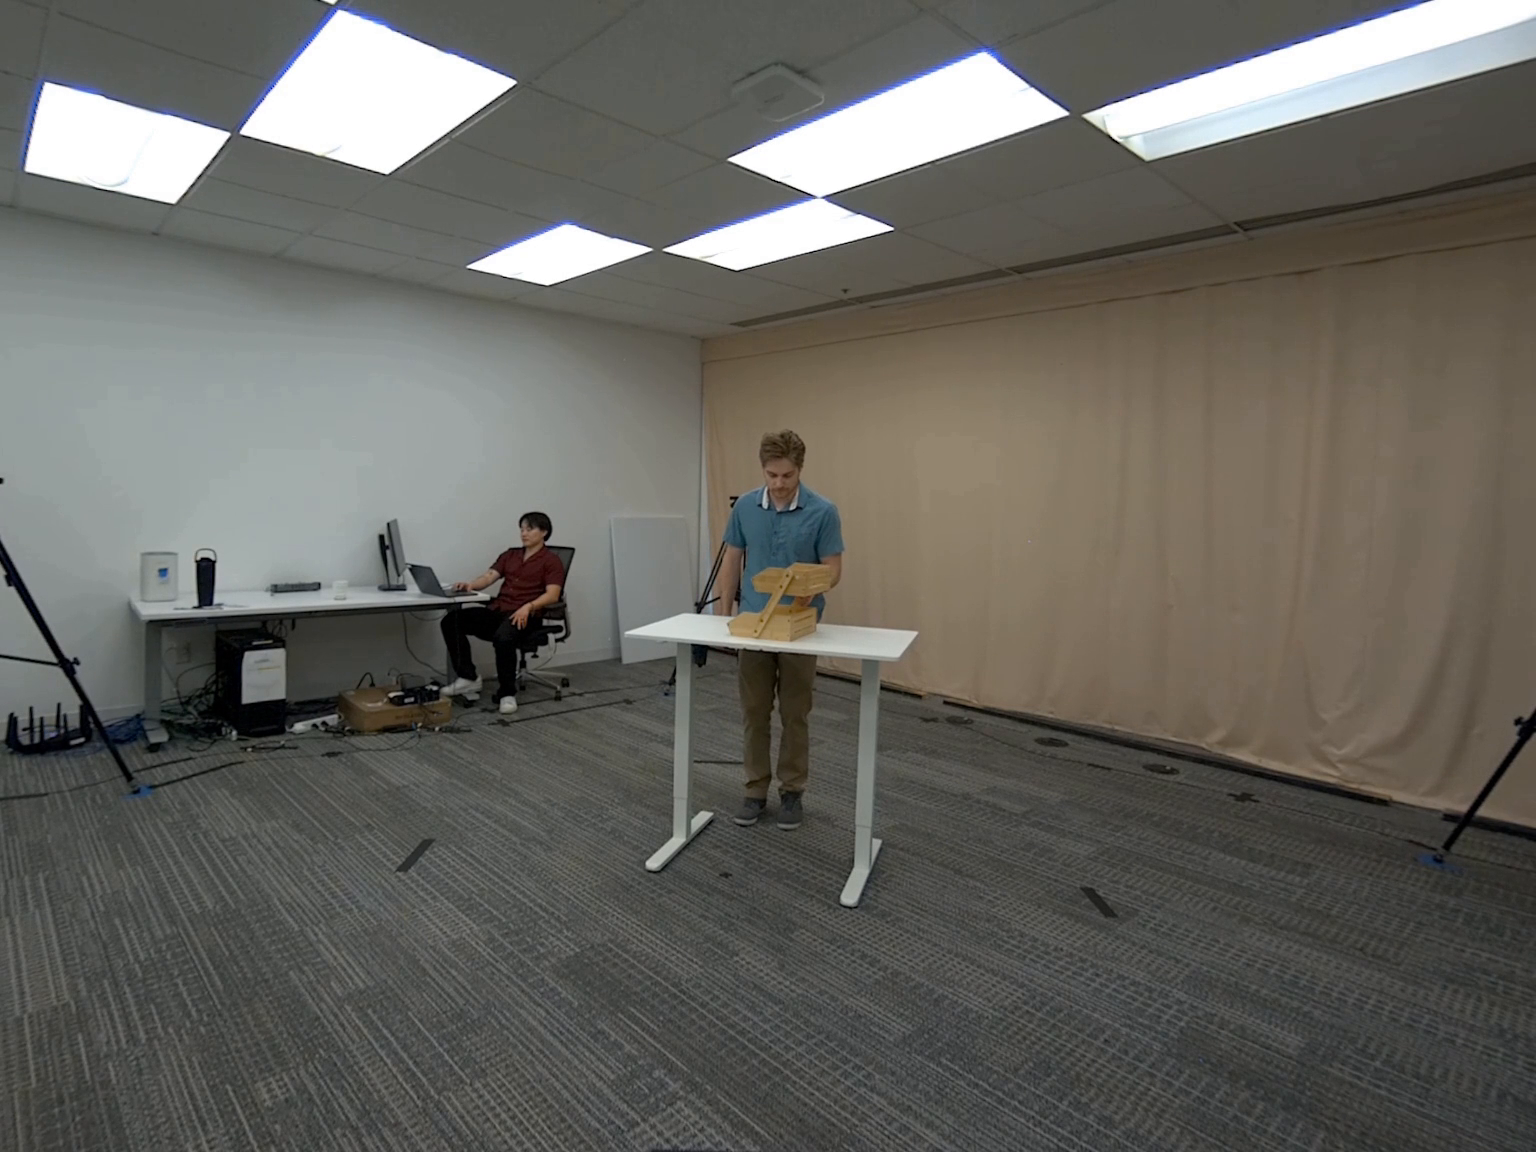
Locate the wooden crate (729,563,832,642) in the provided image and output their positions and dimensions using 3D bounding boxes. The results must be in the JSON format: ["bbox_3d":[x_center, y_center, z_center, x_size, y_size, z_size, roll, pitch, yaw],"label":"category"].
[{"bbox_3d":[0.032,0.089,3.176,0.307,0.272,0.319,3,5,22],"label":"wooden crate"}]
